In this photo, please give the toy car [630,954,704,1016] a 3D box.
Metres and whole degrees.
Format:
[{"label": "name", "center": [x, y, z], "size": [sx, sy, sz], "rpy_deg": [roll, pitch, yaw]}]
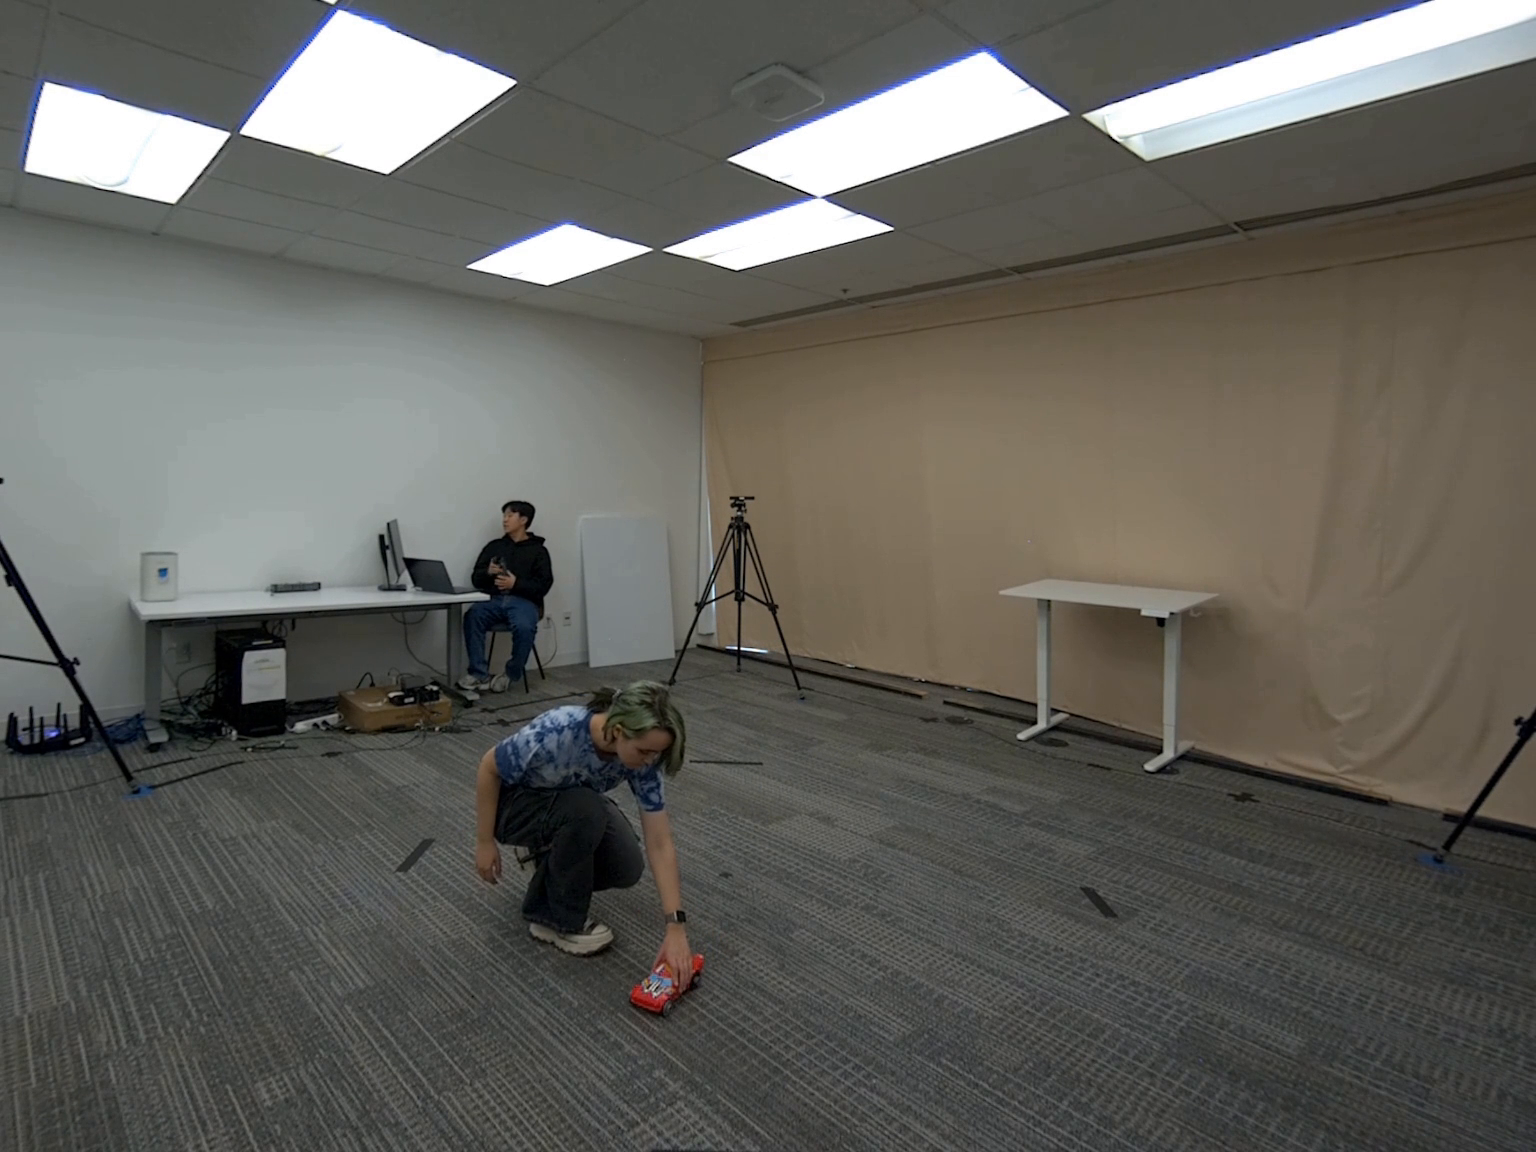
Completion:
[{"label": "toy car", "center": [-0.279, 1.143, 2.358], "size": [0.133, 0.082, 0.252], "rpy_deg": [4, 16, 29]}]
